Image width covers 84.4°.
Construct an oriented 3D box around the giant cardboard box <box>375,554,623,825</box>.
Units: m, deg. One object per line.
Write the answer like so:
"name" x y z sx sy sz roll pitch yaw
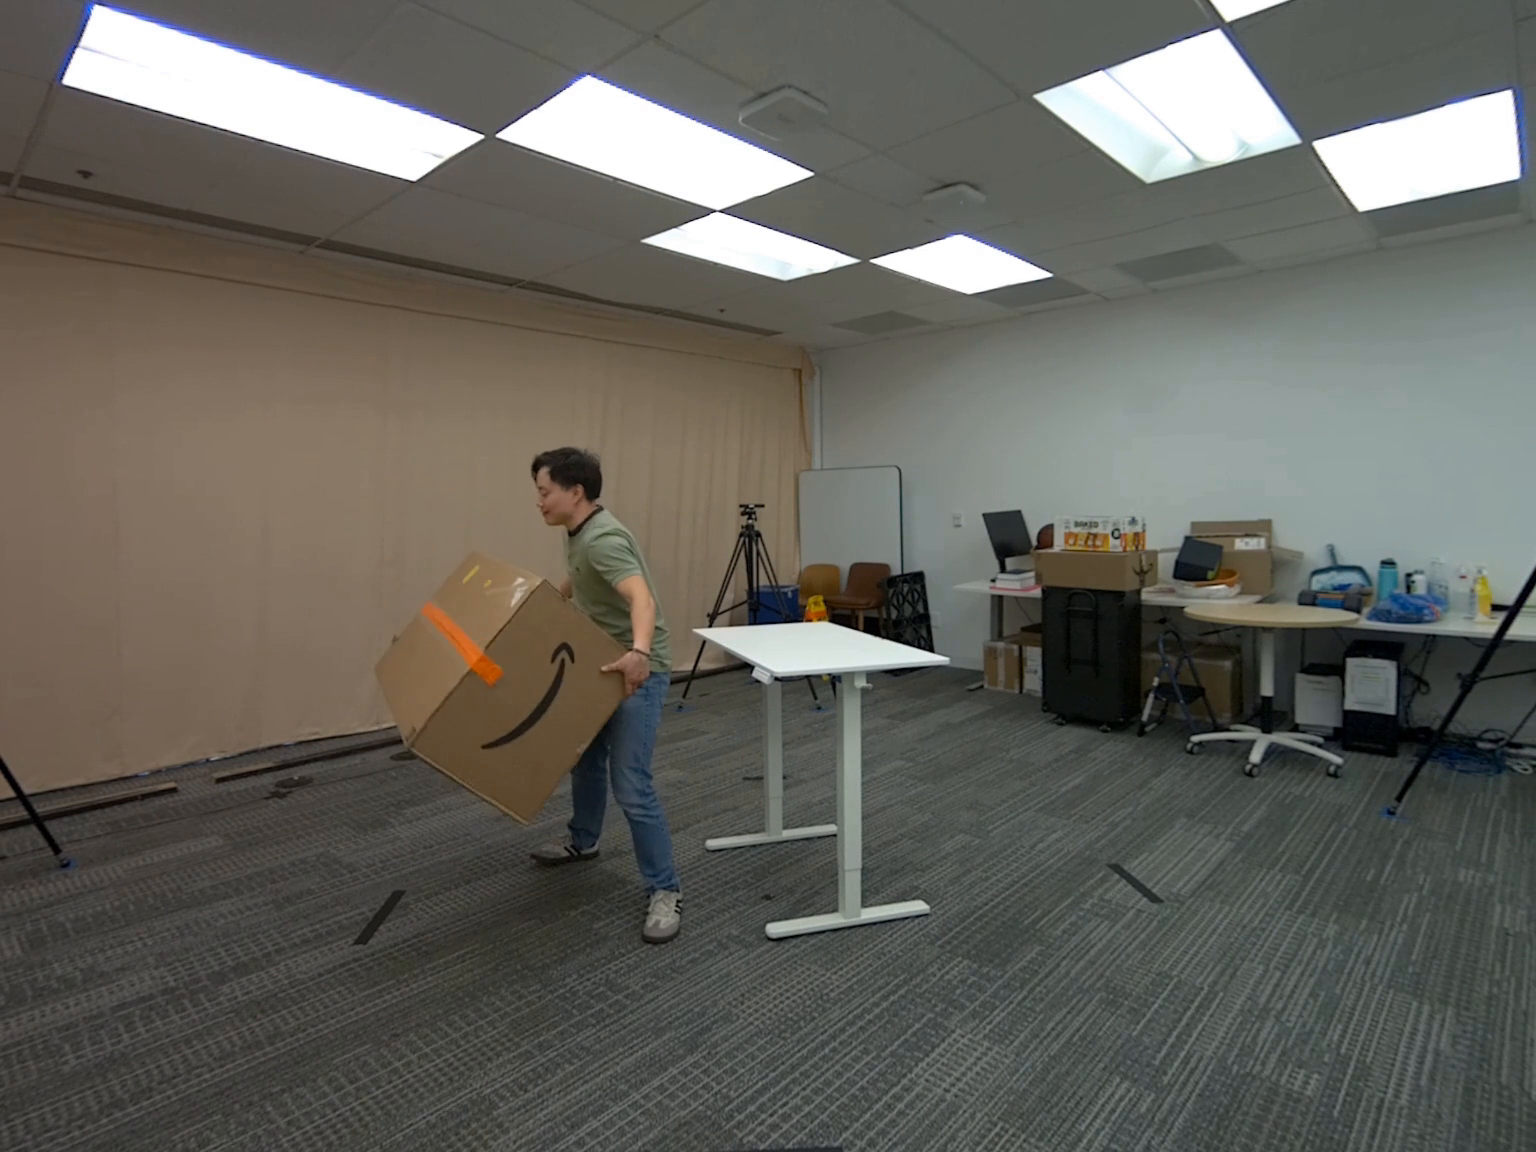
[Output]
"giant cardboard box" -0.915 0.307 2.822 0.415 0.576 1.056 44 -15 -26
